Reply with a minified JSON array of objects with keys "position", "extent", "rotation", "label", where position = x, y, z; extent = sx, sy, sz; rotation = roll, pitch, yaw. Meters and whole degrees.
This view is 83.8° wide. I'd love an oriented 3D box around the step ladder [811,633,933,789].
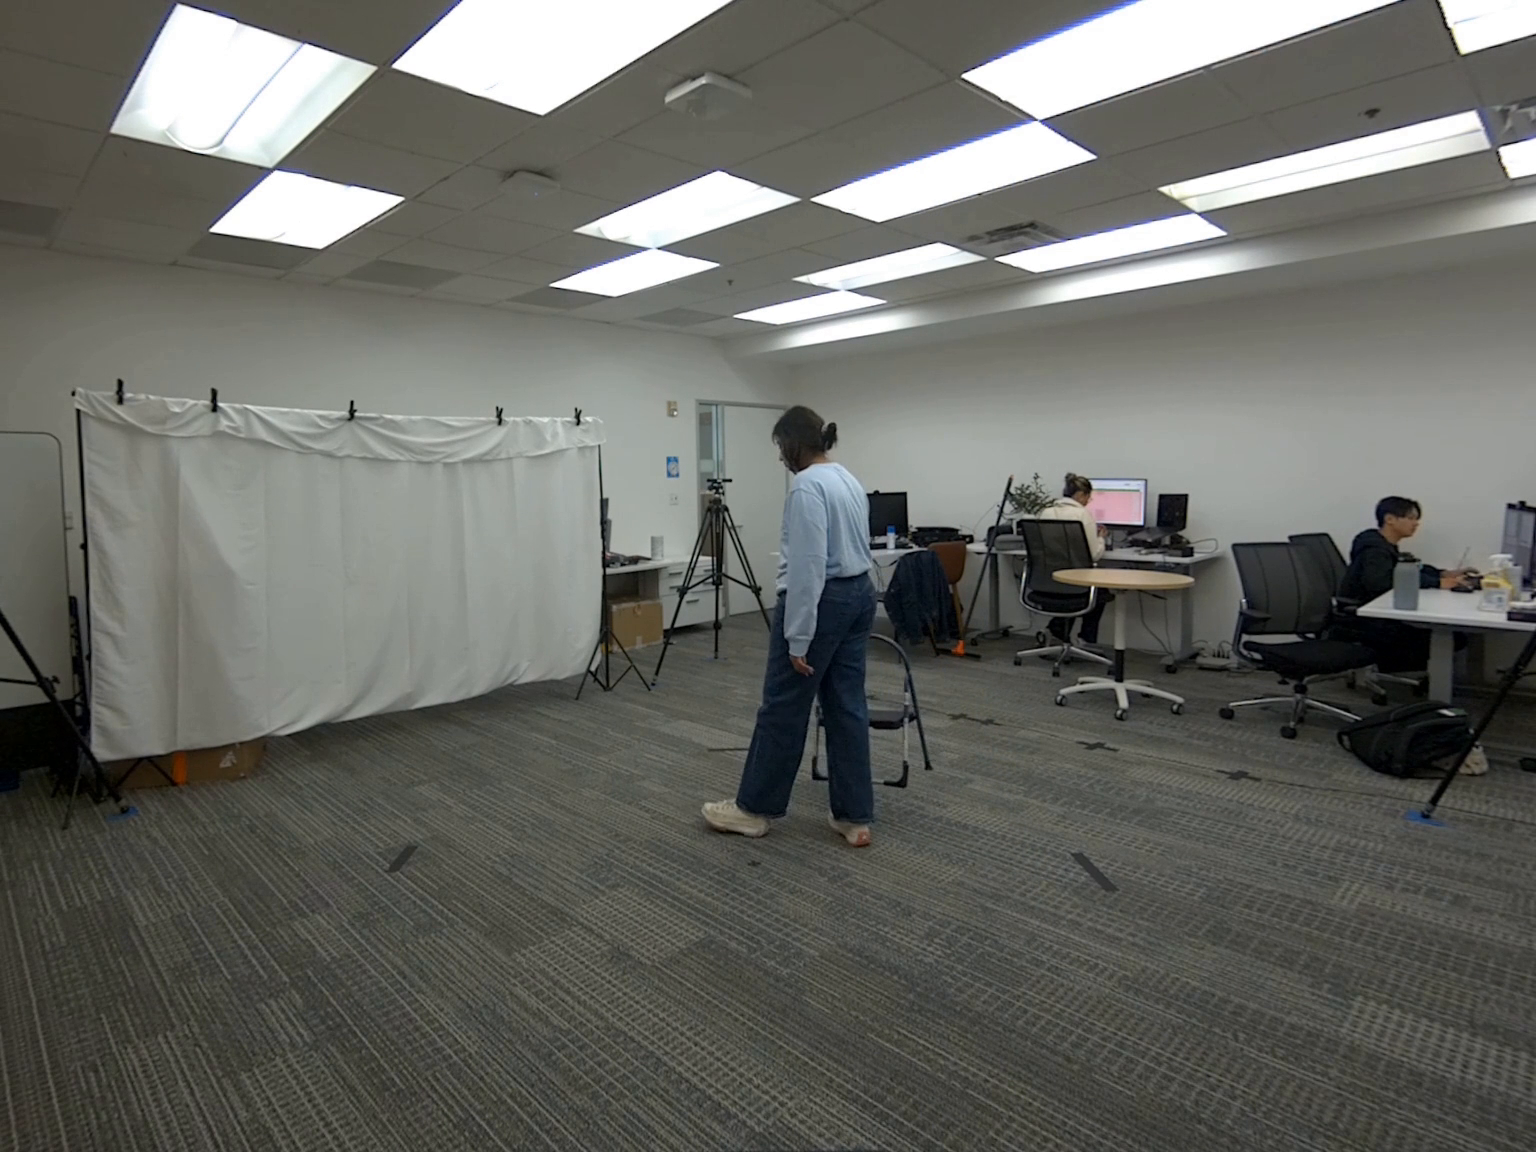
[{"position":[0.427,0.549,3.659],"extent":[0.440,0.607,0.340],"rotation":[-4,-2,29],"label":"step ladder"}]
